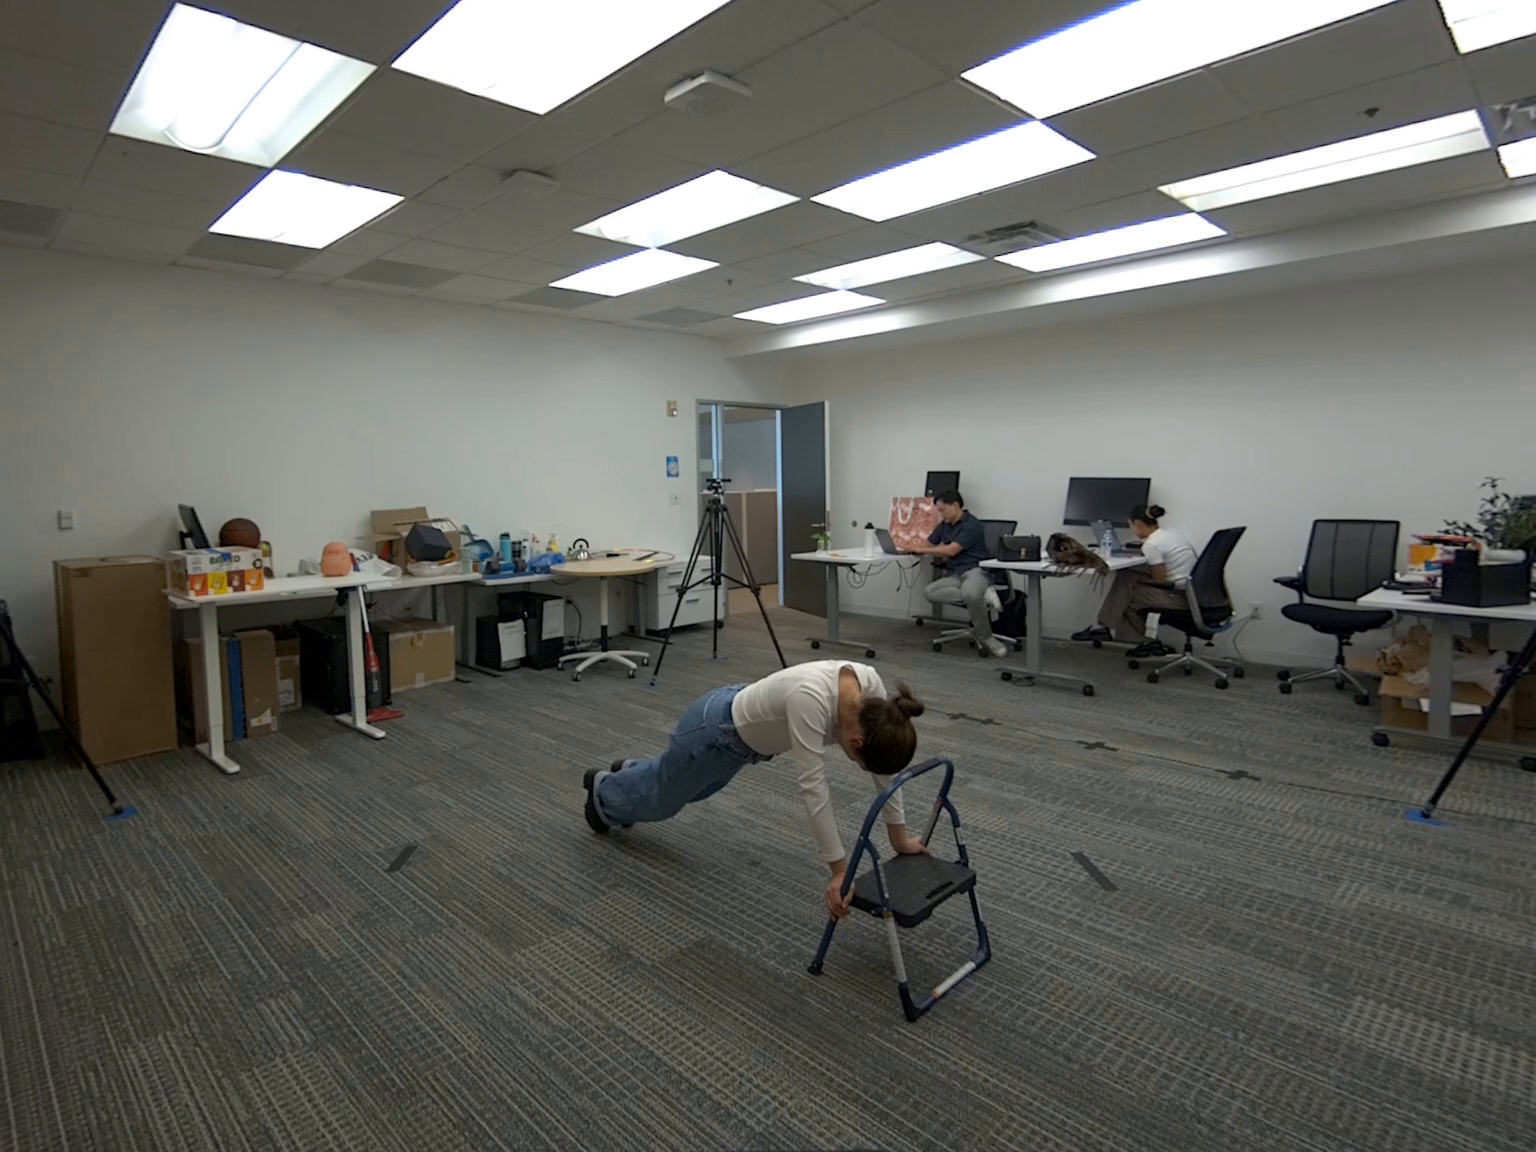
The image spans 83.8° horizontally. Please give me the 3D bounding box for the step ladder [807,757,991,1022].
[{"bbox_3d":[0.383,0.817,2.425,0.360,0.604,0.419,3,6,43],"label":"step ladder"}]
